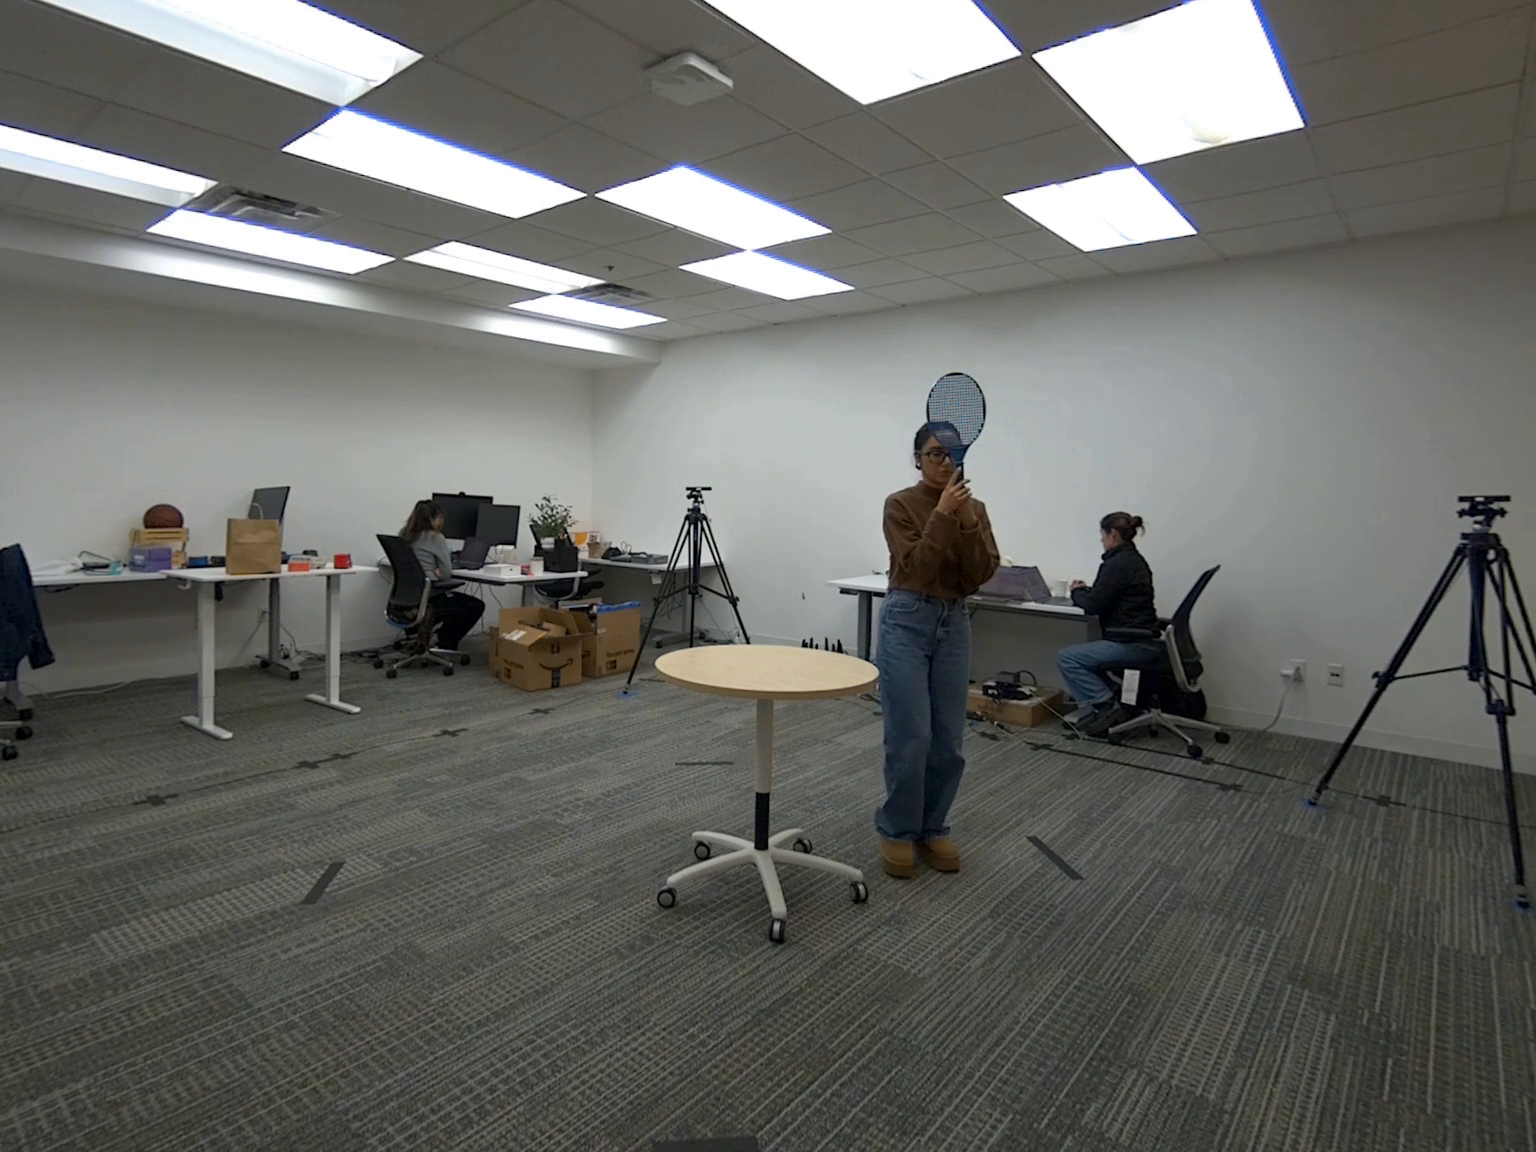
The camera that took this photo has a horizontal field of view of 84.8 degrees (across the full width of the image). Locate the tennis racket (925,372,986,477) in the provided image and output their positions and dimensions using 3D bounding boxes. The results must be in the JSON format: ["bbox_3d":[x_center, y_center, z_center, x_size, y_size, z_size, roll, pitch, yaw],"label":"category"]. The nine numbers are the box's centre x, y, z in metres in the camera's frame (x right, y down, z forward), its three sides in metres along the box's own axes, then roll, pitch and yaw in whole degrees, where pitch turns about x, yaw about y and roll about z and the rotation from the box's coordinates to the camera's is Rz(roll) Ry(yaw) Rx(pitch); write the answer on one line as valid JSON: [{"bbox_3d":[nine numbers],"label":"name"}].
[{"bbox_3d":[0.645,-0.504,2.995,0.212,0.428,0.032,-4,10,-8],"label":"tennis racket"}]
